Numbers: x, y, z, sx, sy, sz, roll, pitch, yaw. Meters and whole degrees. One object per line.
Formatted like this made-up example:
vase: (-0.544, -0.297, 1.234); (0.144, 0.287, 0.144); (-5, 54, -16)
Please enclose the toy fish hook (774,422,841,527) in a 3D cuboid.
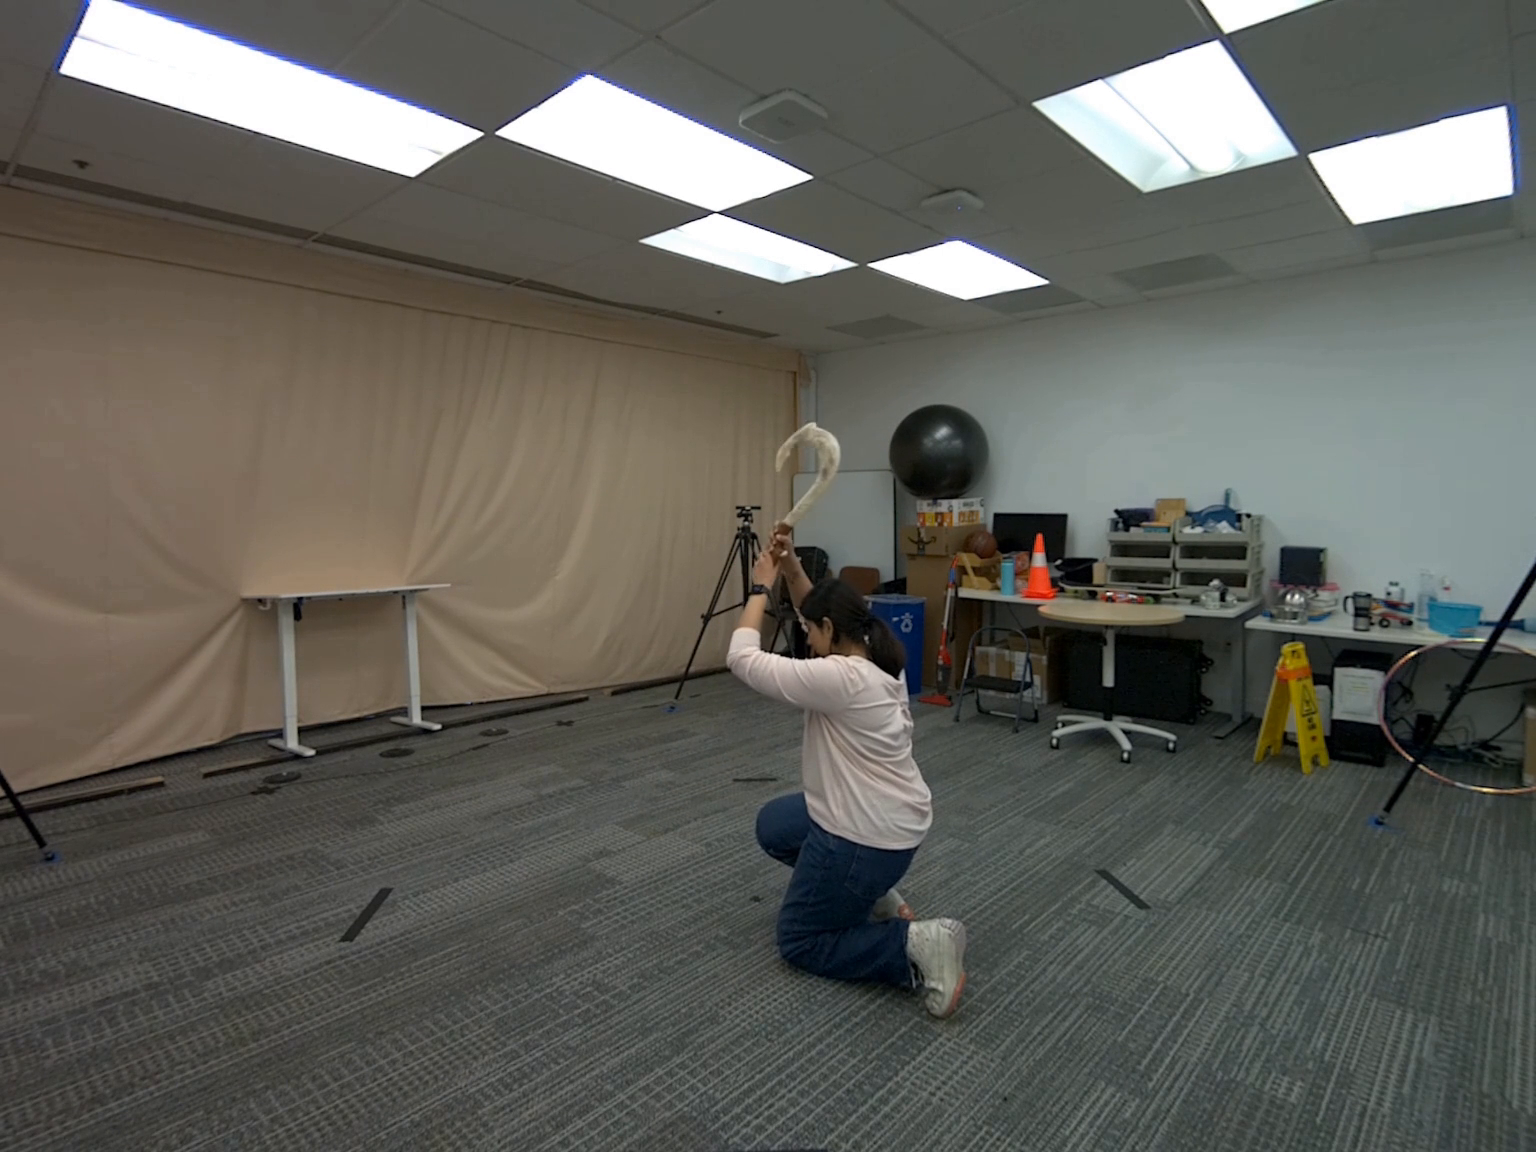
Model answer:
toy fish hook: (0.061, -0.225, 2.631); (0.047, 0.506, 0.232); (8, 27, -48)
